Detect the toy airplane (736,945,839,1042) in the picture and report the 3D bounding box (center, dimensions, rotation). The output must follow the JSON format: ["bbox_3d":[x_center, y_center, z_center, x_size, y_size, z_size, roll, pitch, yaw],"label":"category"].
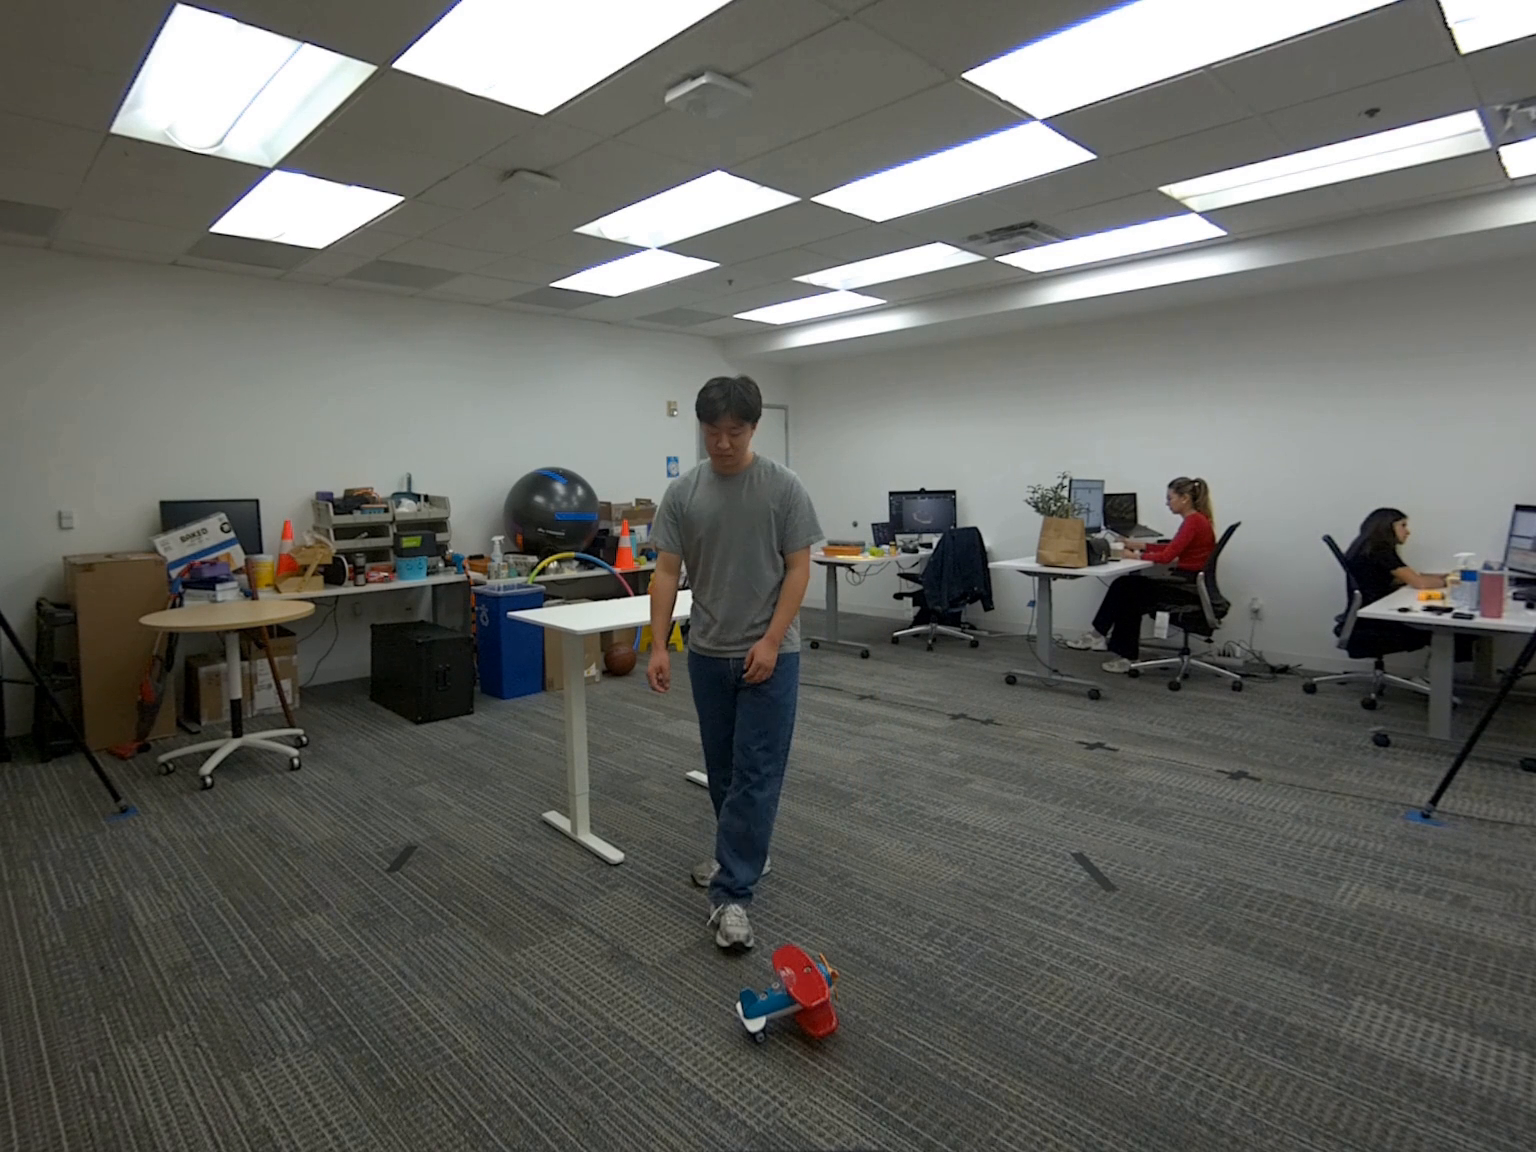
[{"bbox_3d":[0.071,1.081,2.149,0.259,0.156,0.252,4,7,42],"label":"toy airplane"}]
